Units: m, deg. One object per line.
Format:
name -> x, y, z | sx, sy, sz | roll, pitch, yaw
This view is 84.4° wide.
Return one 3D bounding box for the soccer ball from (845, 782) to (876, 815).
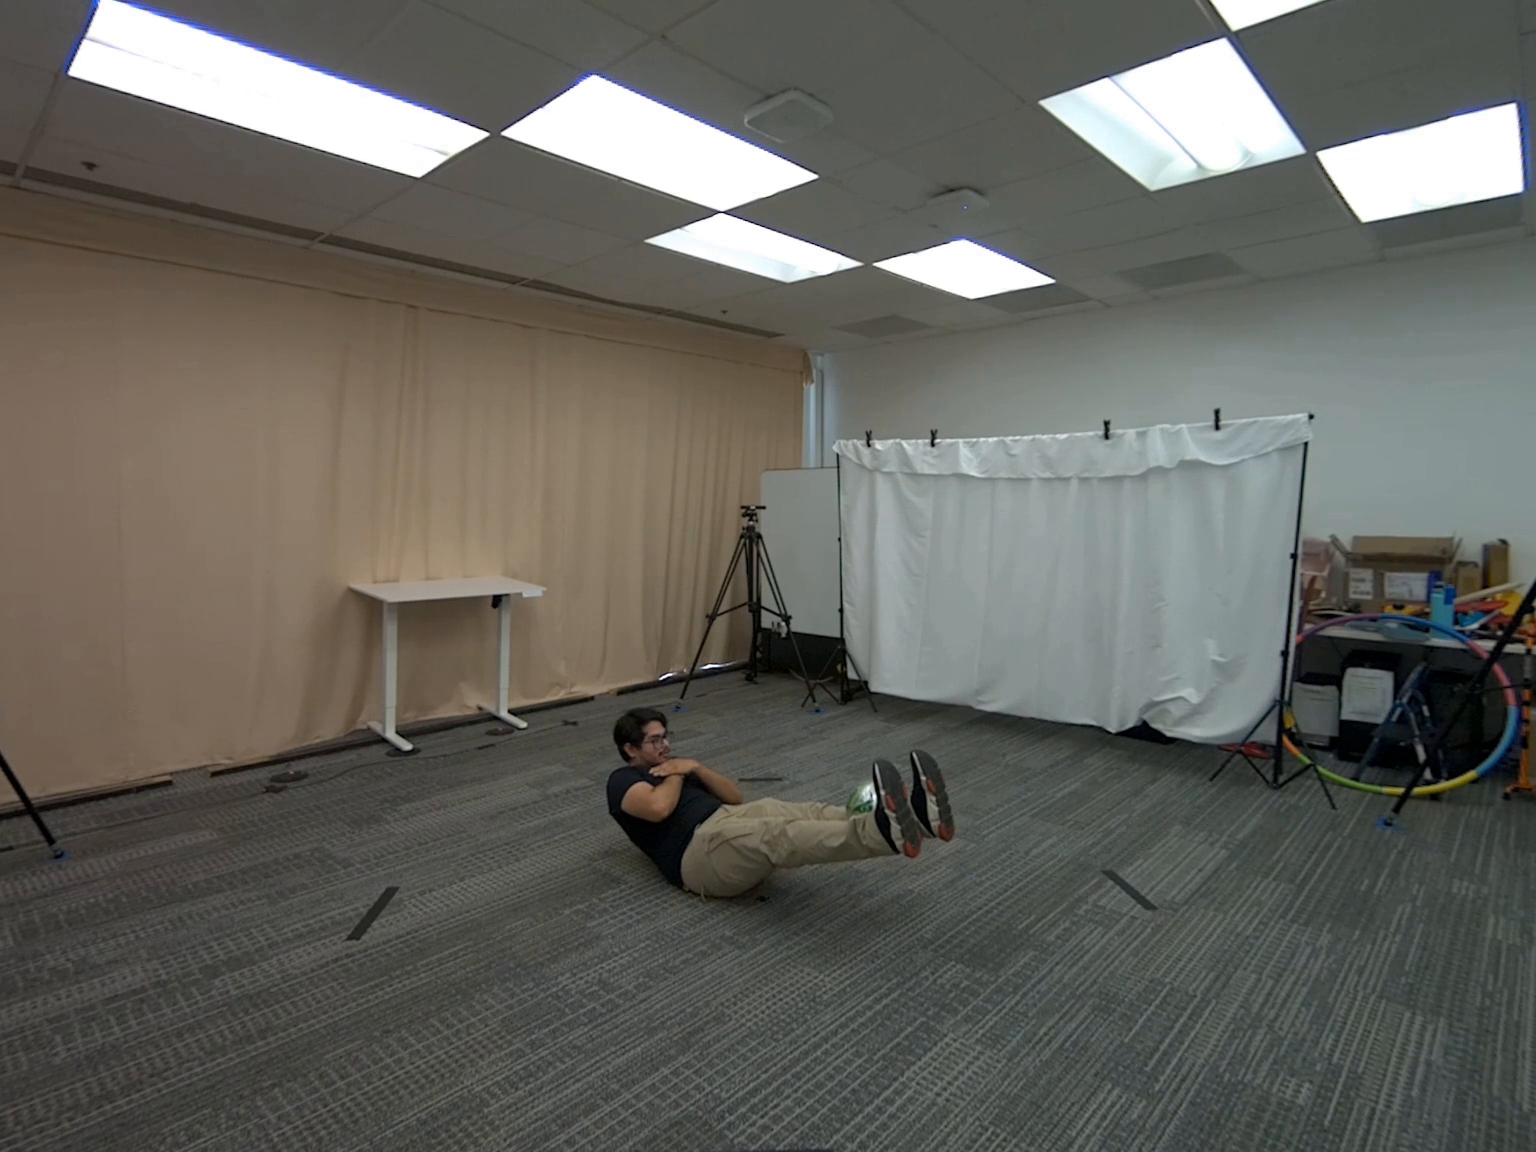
soccer ball -> 0.358, 0.761, 2.706 | 0.187, 0.187, 0.188 | 0, 4, -2
